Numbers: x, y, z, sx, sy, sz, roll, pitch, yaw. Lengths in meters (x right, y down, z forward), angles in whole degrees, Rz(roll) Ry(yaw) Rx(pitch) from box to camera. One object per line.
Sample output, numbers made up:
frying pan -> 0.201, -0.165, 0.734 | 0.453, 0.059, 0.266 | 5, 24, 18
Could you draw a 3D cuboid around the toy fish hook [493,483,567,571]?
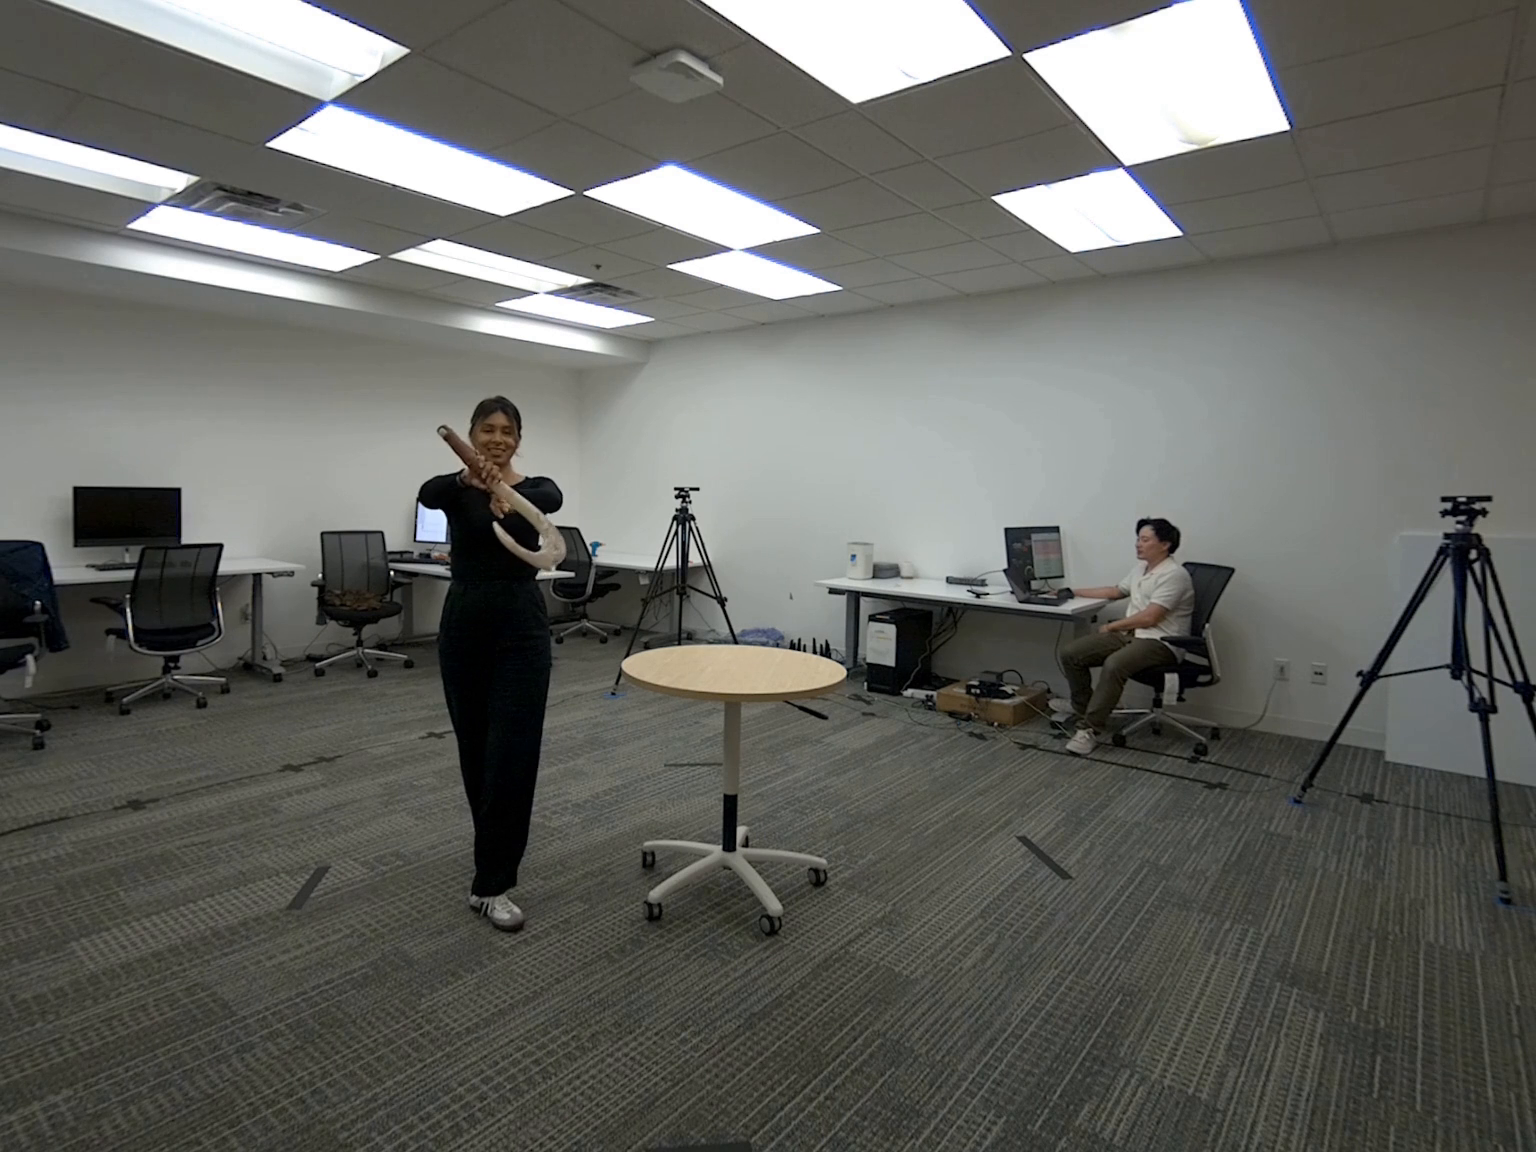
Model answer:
toy fish hook -> -0.768, -0.219, 2.346 | 0.048, 0.504, 0.225 | -42, 4, 21
